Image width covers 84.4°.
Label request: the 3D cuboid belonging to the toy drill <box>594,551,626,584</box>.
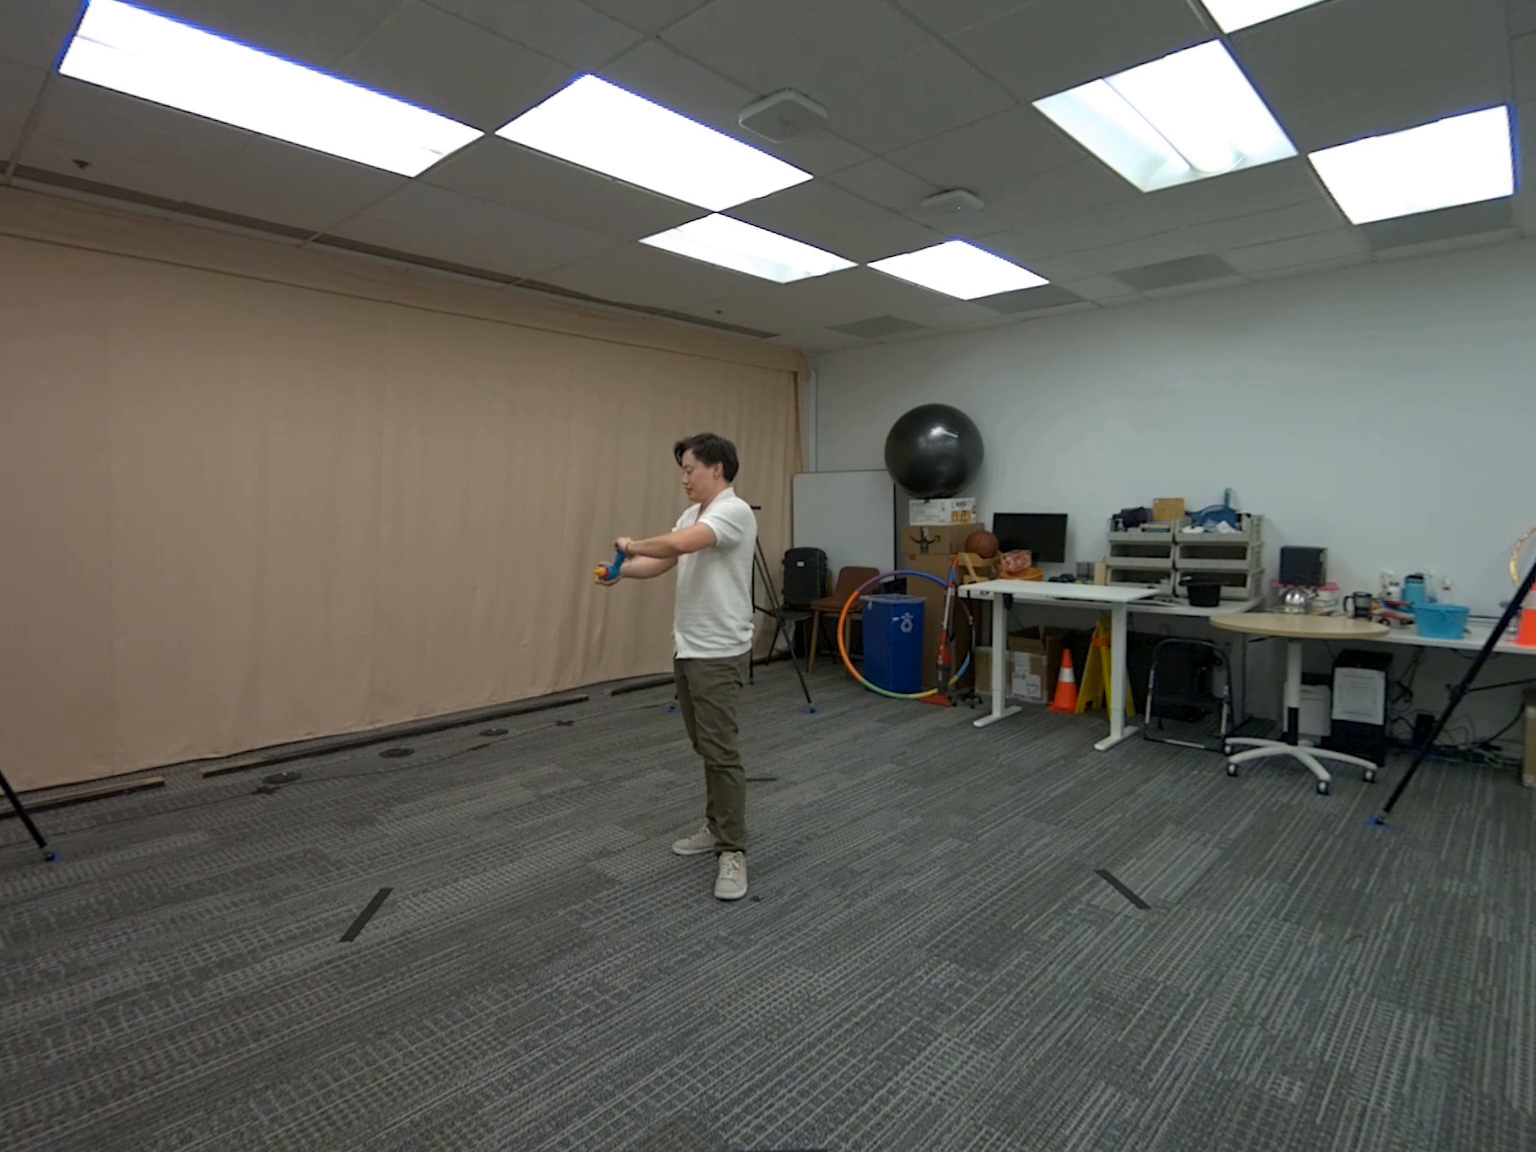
[{"bbox_3d":[-0.597,-0.046,3.206,0.063,0.146,0.165,40,15,24],"label":"toy drill"}]
